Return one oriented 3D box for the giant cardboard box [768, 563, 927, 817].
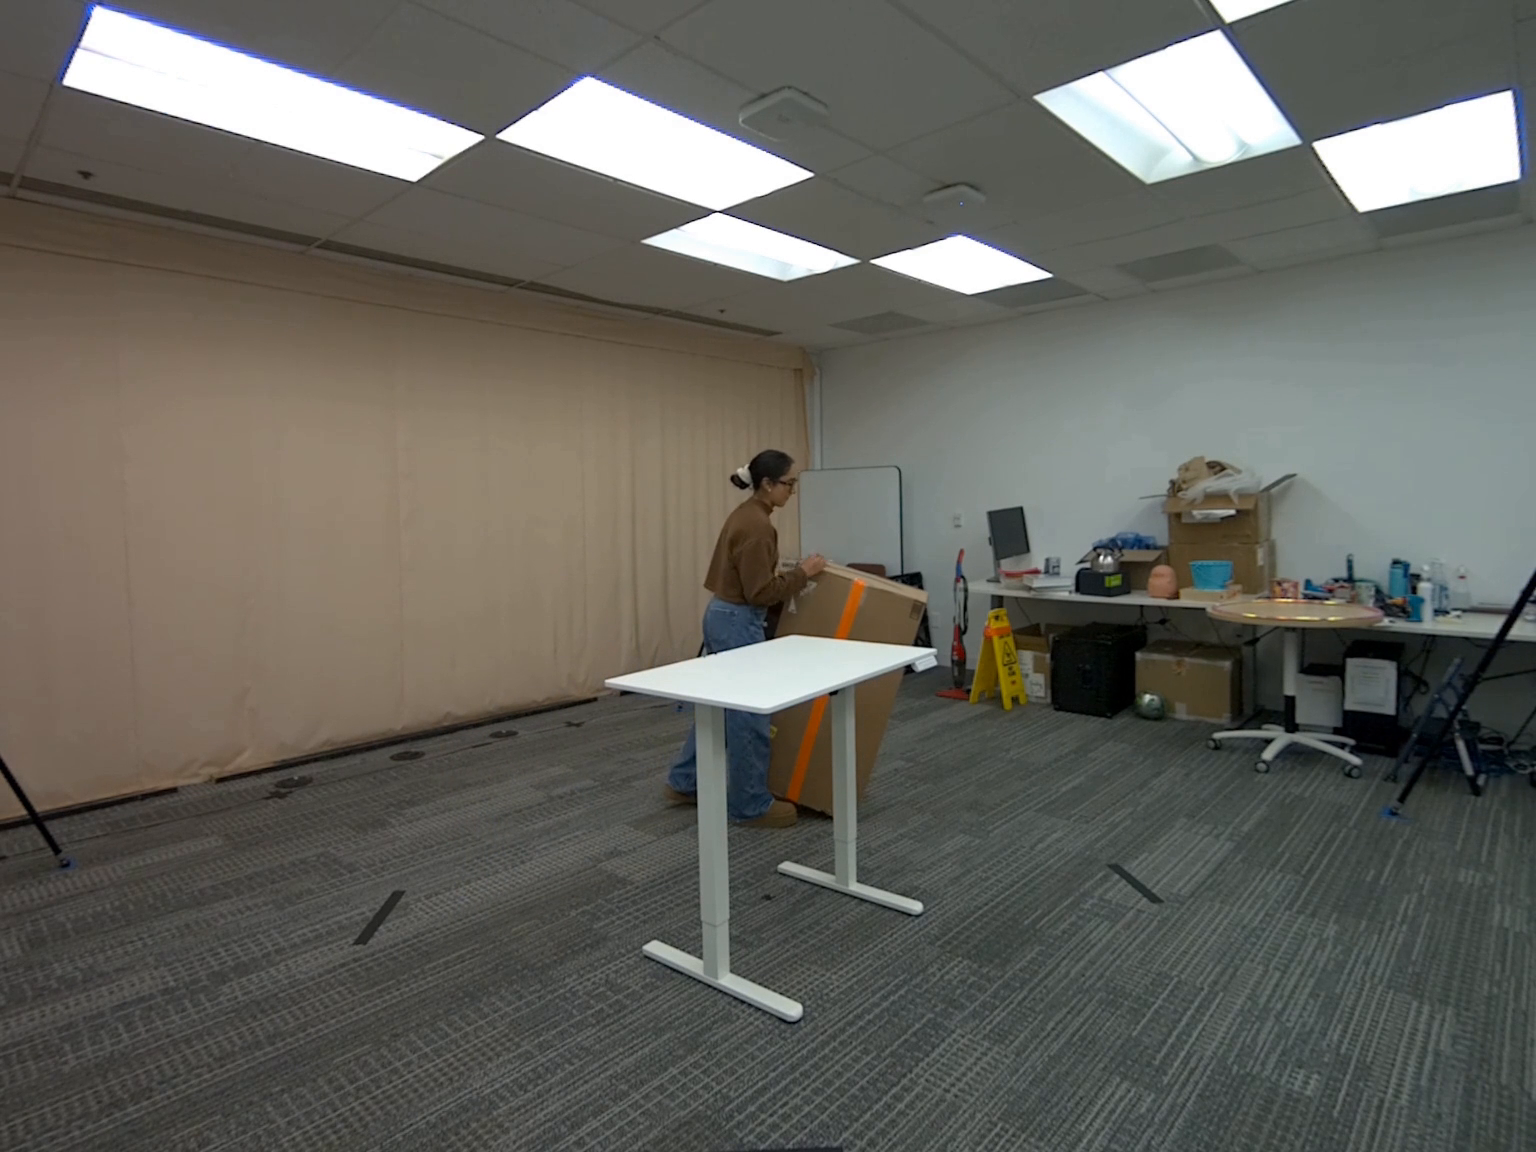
[{"bbox_3d":[0.296,0.489,3.875,0.585,1.023,0.422,18,9,10],"label":"giant cardboard box"}]
